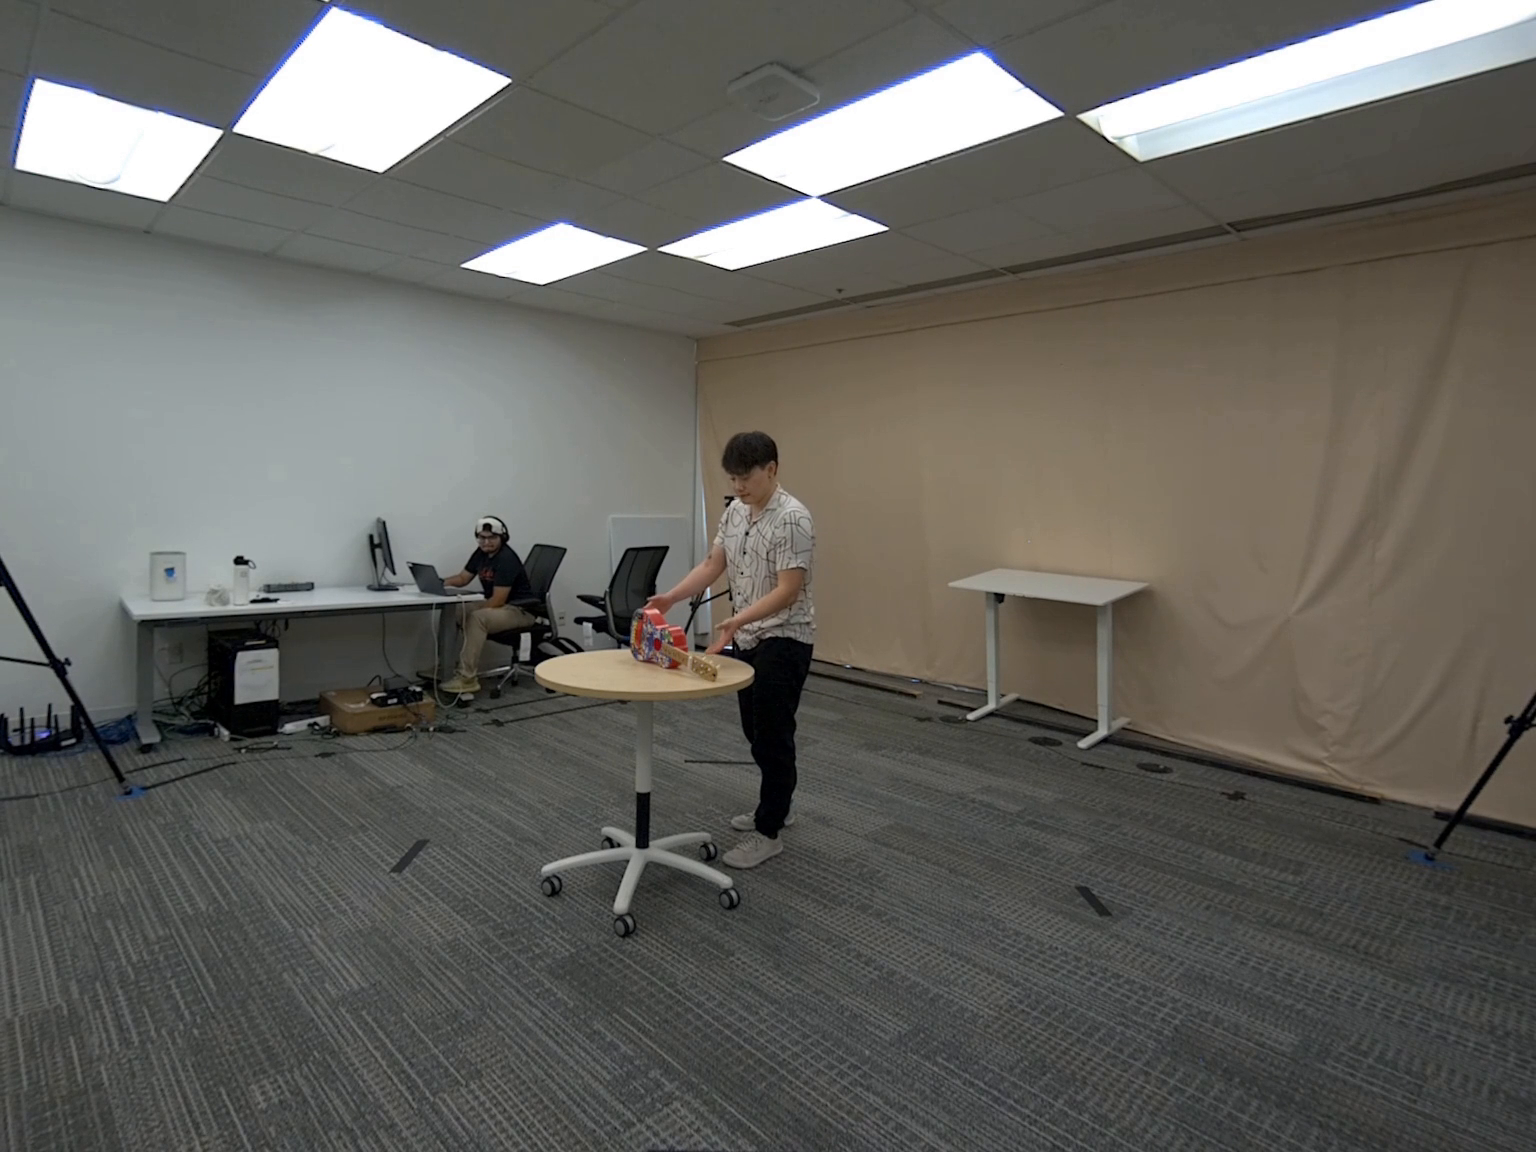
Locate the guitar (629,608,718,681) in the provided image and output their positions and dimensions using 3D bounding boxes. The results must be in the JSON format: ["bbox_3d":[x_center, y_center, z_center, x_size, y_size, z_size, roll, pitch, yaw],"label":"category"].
[{"bbox_3d":[-0.336,0.288,2.963,0.069,0.191,0.514,1,22,-42],"label":"guitar"}]
